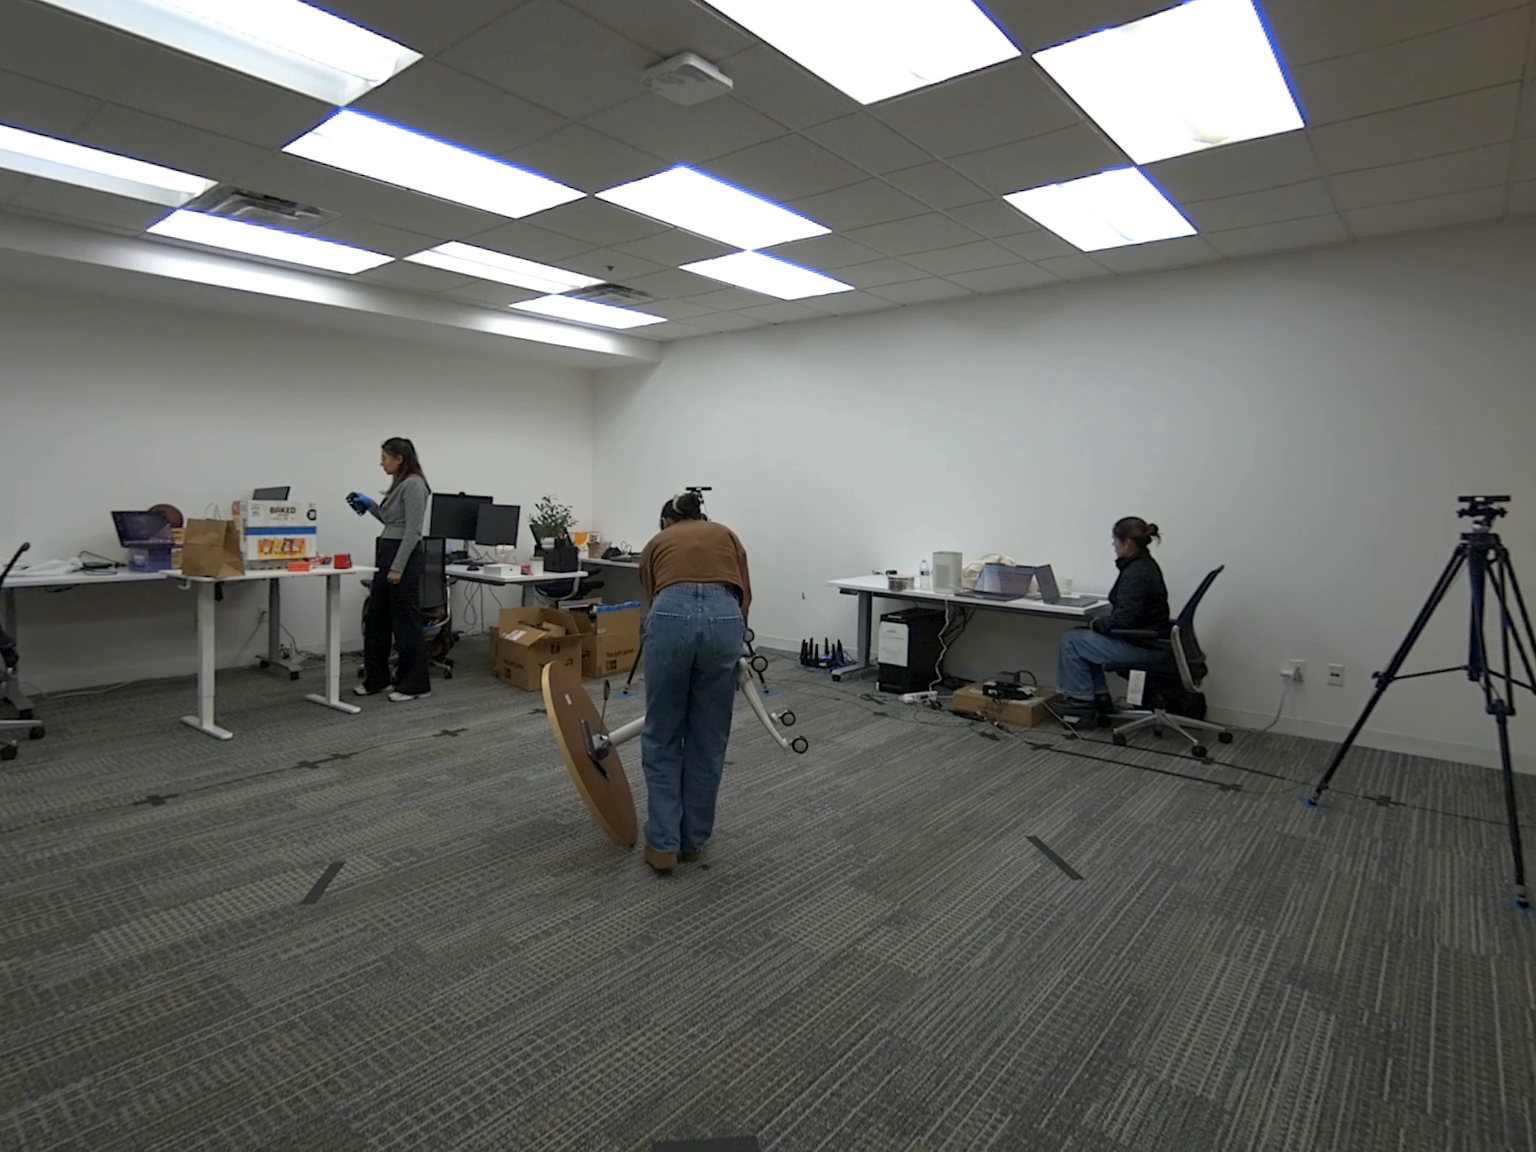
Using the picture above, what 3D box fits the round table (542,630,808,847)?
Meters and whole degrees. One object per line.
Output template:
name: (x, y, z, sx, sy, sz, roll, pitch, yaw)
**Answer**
round table: (-0.368, 0.519, 3.375, 0.793, 0.759, 0.770, -25, 6, -3)
